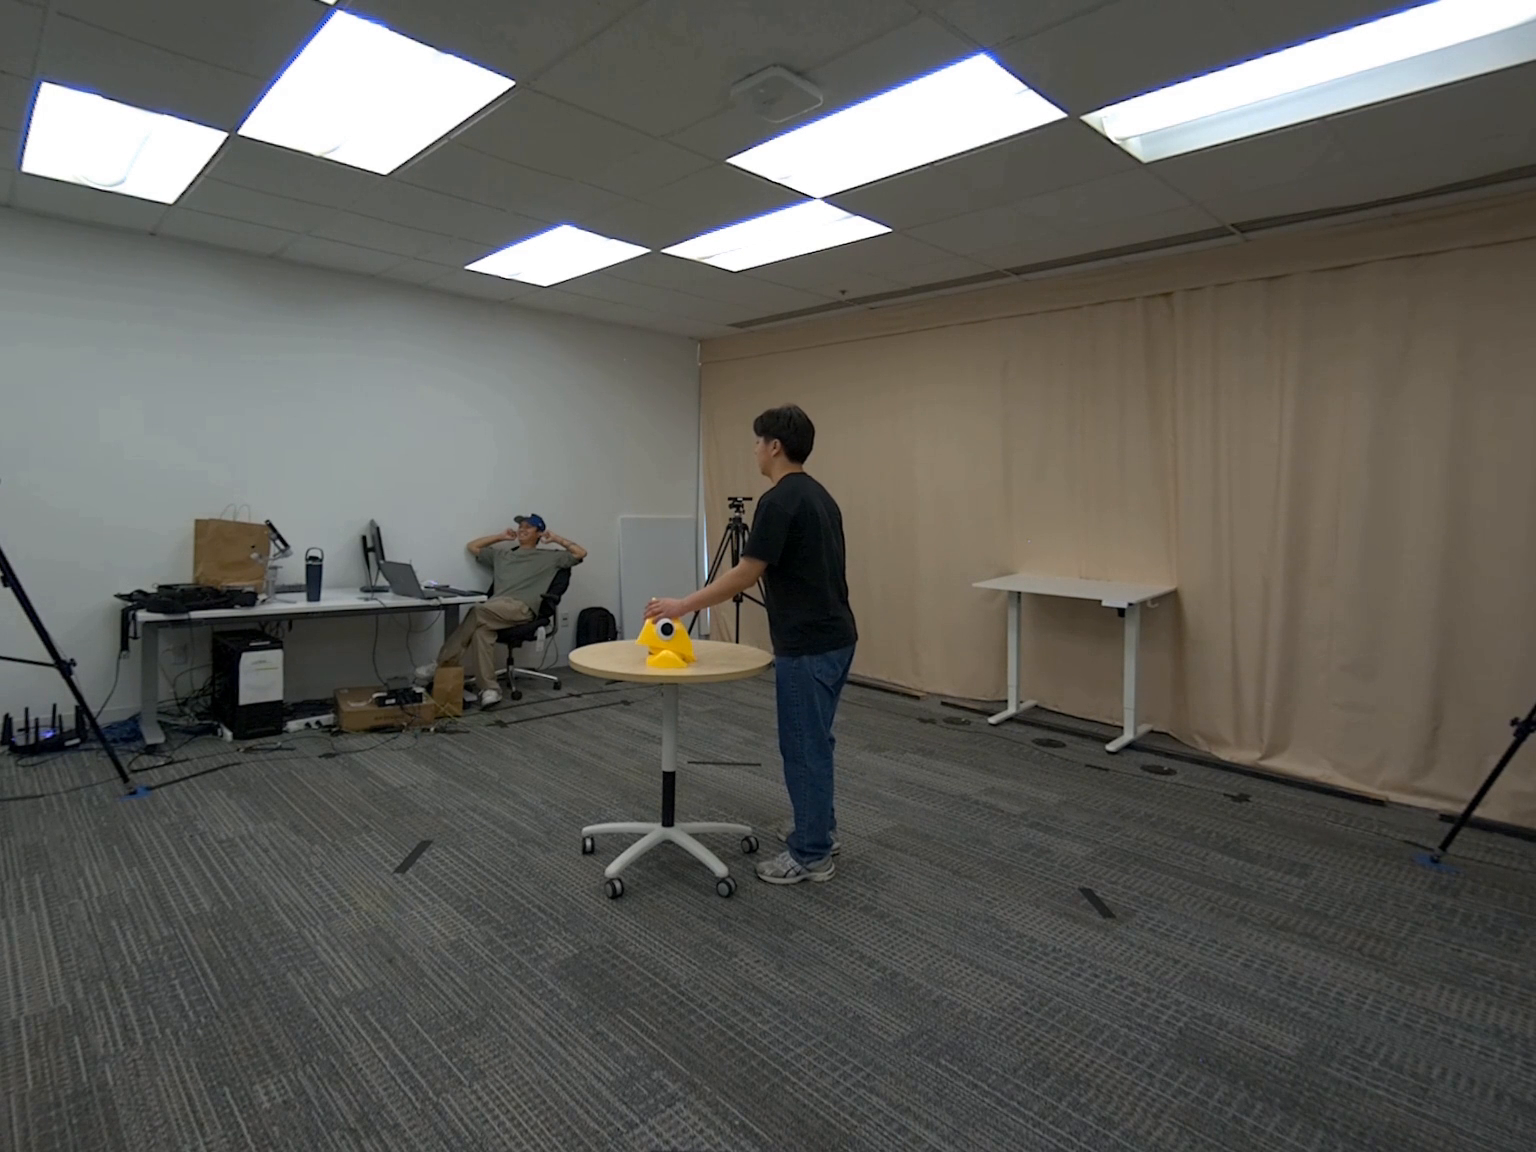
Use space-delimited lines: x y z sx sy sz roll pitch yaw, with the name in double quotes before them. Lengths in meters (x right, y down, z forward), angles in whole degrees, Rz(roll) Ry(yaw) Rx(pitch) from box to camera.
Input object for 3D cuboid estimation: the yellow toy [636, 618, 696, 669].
"yellow toy" -0.363 0.199 3.030 0.195 0.230 0.203 2 4 11
